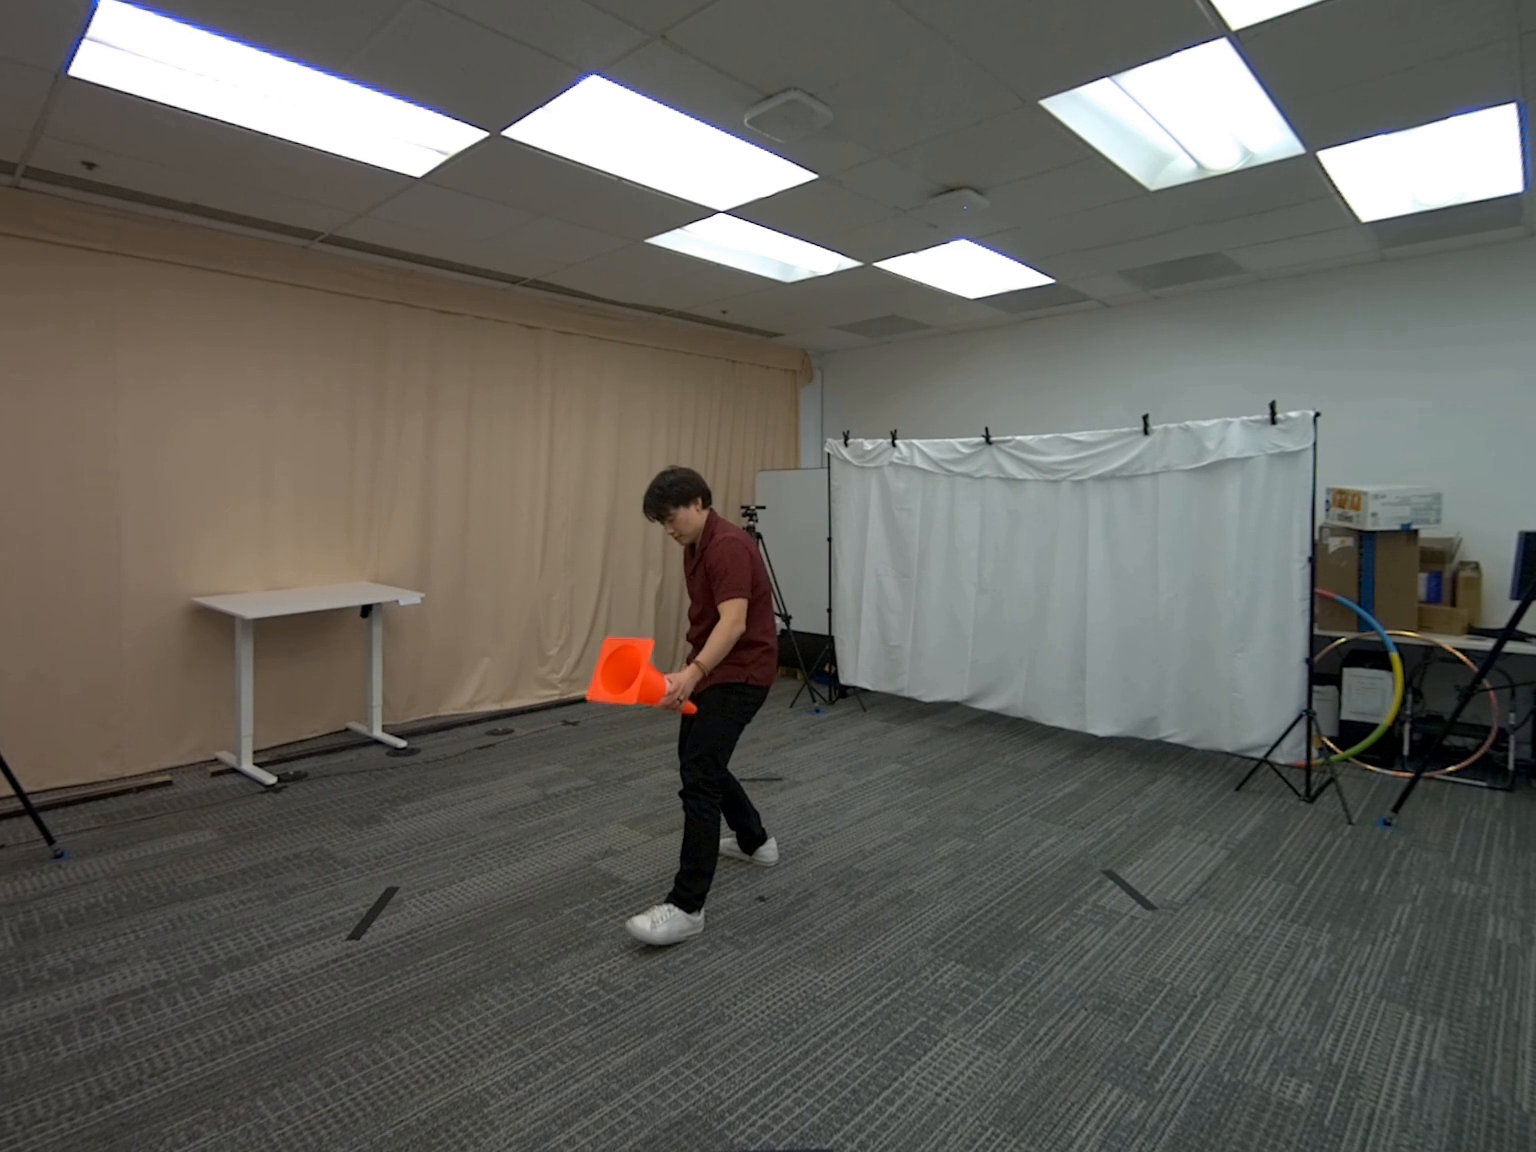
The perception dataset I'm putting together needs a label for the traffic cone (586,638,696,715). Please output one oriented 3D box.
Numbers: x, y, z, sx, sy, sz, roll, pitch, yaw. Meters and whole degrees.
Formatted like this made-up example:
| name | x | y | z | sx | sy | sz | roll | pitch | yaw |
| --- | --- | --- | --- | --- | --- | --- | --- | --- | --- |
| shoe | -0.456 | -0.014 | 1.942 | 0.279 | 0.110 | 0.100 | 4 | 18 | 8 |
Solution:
| name | x | y | z | sx | sy | sz | roll | pitch | yaw |
| --- | --- | --- | --- | --- | --- | --- | --- | --- | --- |
| traffic cone | -0.343 | 0.376 | 2.609 | 0.211 | 0.204 | 0.370 | 1 | -26 | 36 |
